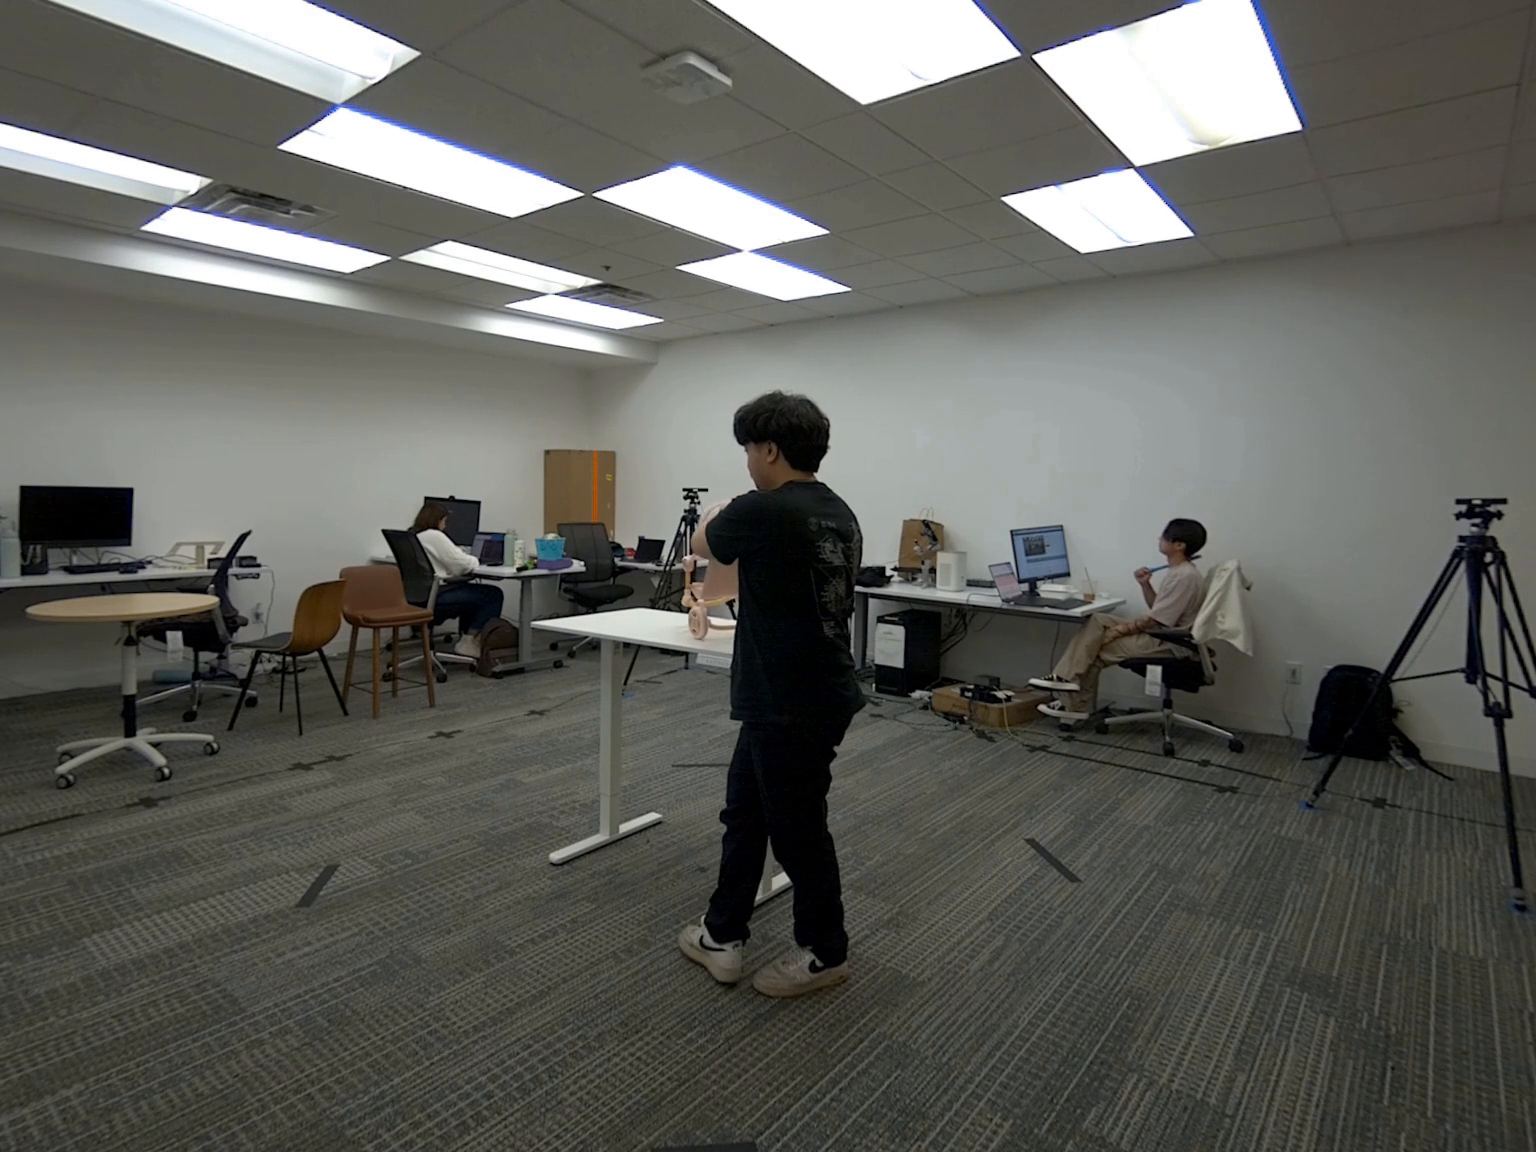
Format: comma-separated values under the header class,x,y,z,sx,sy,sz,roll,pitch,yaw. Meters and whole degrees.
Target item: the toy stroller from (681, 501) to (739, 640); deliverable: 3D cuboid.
class,x,y,z,sx,sy,sz,roll,pitch,yaw
toy stroller,-0.164,-0.022,2.940,0.275,0.528,0.354,0,18,-24
